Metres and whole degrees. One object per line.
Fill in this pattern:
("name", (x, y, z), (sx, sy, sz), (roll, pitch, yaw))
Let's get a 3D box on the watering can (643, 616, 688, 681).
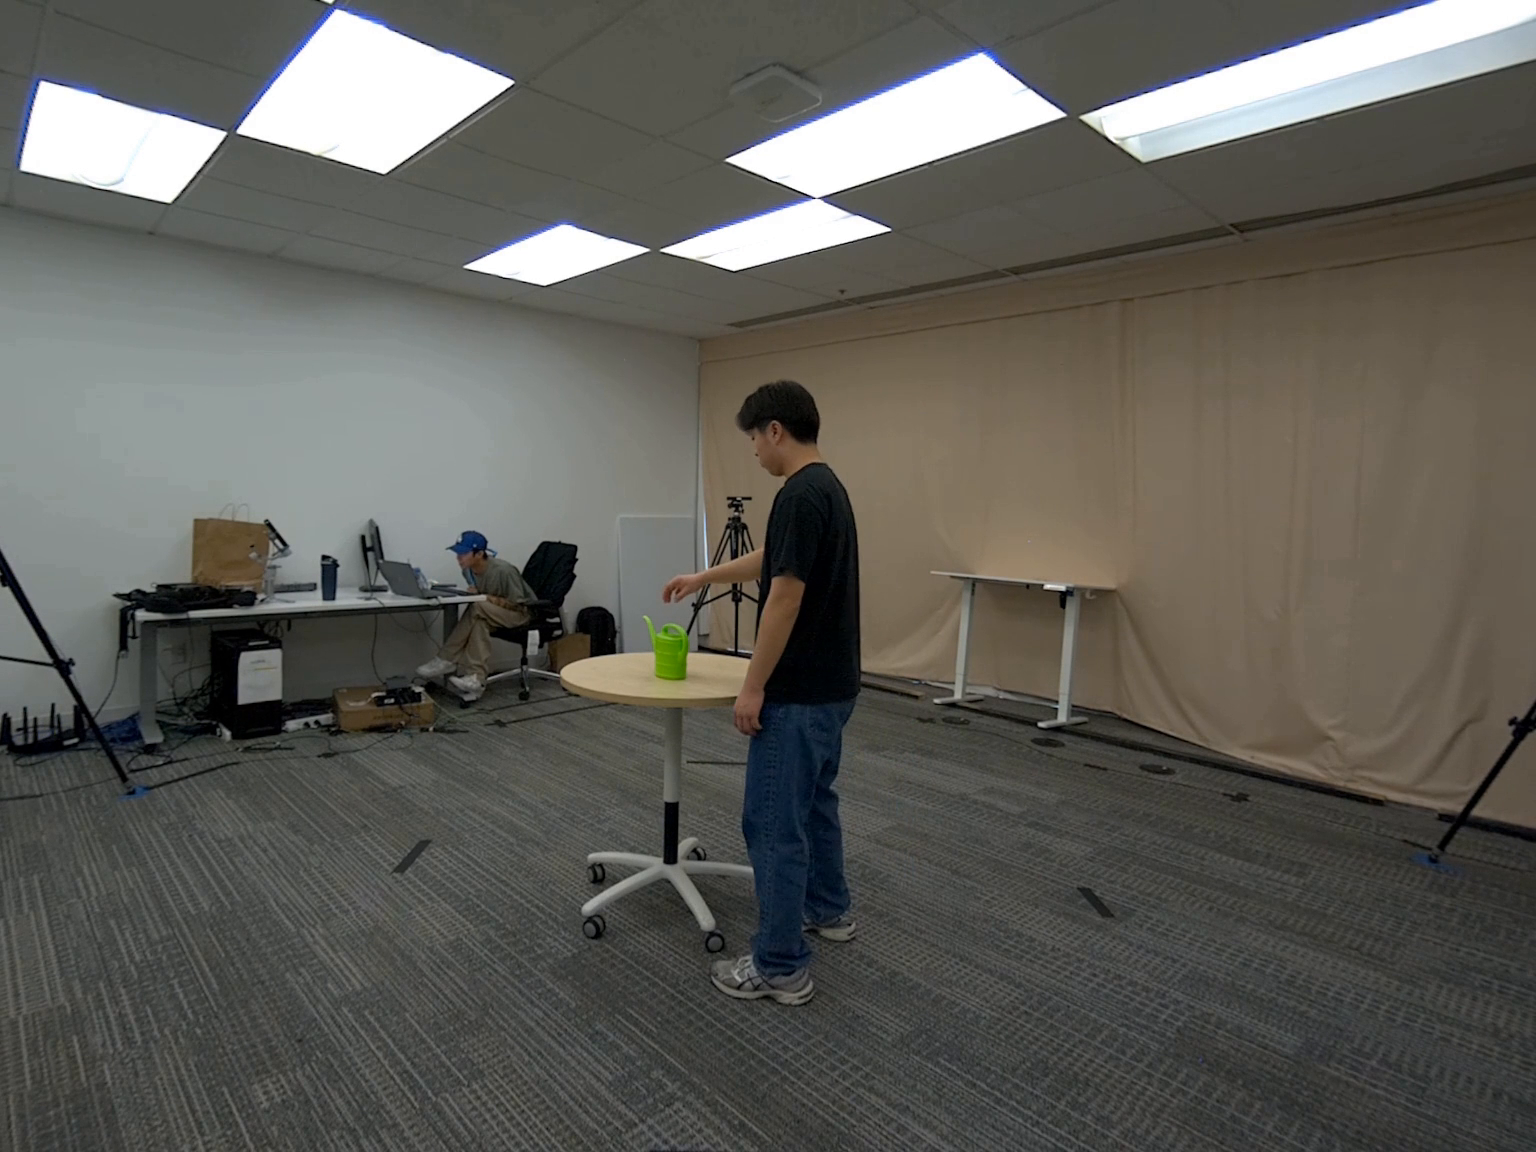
("watering can", (-0.343, 0.244, 2.822), (0.096, 0.176, 0.284), (3, 5, -24))
